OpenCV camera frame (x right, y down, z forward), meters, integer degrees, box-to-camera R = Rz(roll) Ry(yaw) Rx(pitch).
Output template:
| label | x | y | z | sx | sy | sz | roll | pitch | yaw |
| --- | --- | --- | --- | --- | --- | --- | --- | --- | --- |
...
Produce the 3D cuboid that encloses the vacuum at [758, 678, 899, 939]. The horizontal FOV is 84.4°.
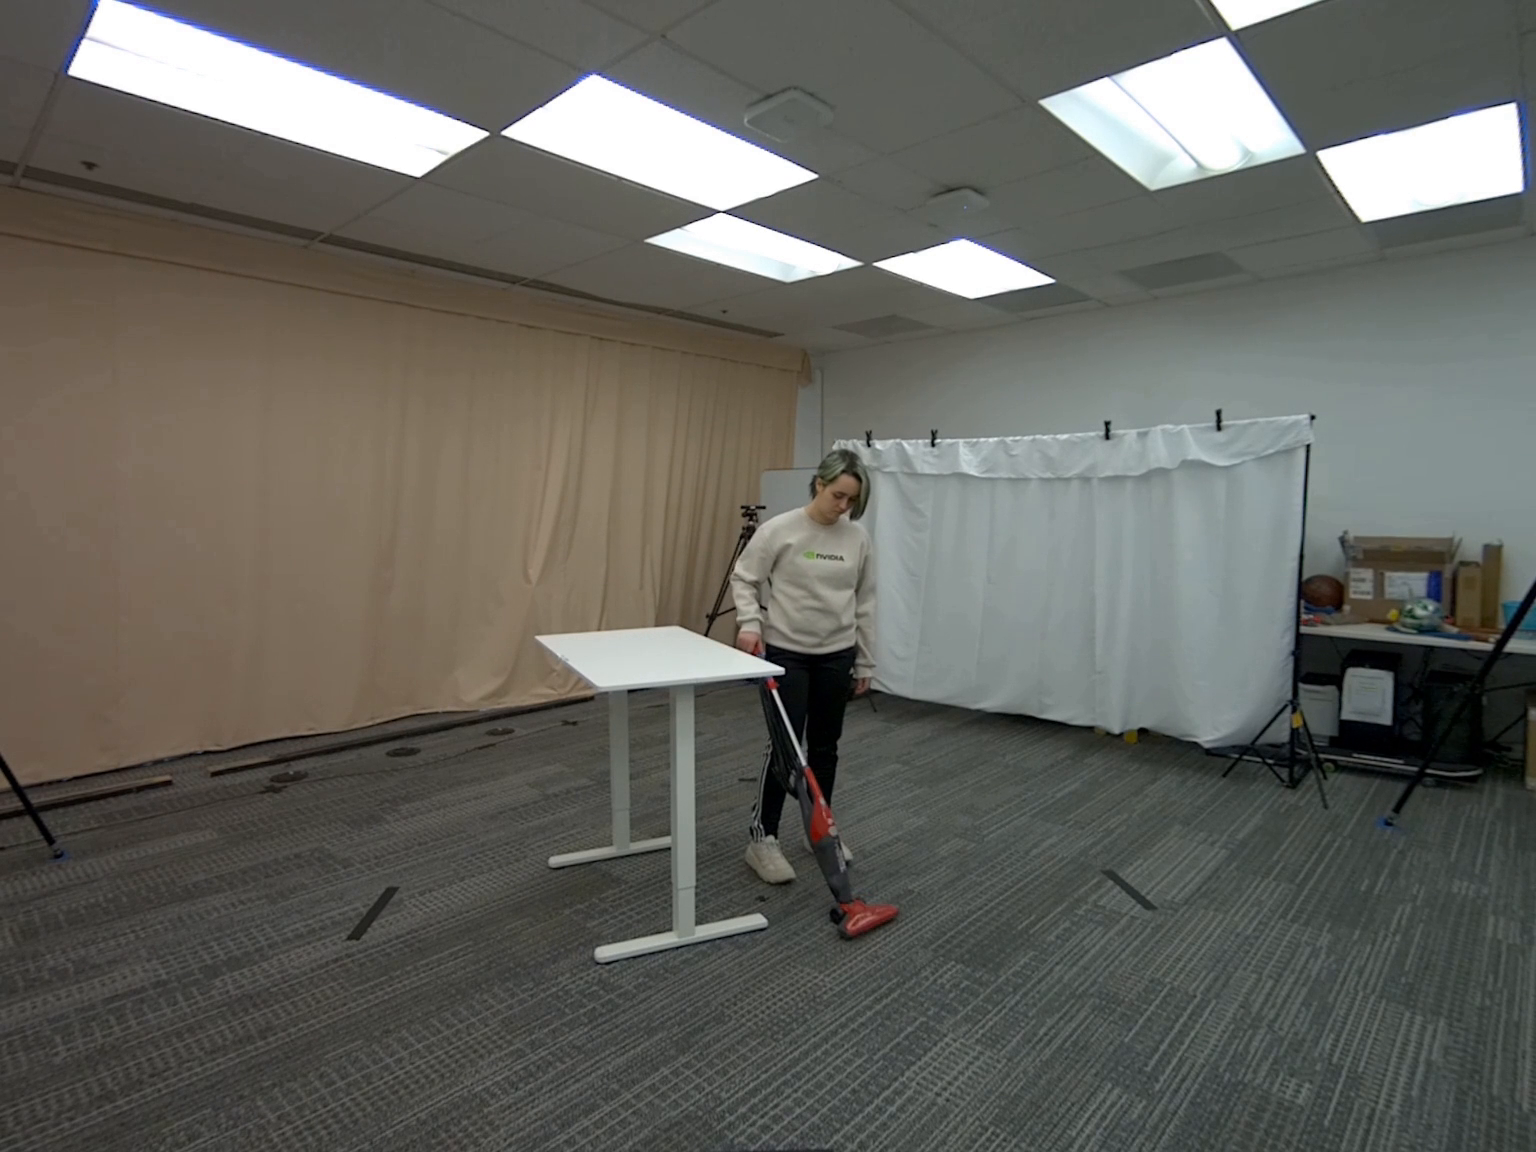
| label | x | y | z | sx | sy | sz | roll | pitch | yaw |
| --- | --- | --- | --- | --- | --- | --- | --- | --- | --- |
| vacuum | 0.125 | 0.705 | 3.011 | 0.245 | 1.073 | 0.145 | -2 | -32 | -40 |
